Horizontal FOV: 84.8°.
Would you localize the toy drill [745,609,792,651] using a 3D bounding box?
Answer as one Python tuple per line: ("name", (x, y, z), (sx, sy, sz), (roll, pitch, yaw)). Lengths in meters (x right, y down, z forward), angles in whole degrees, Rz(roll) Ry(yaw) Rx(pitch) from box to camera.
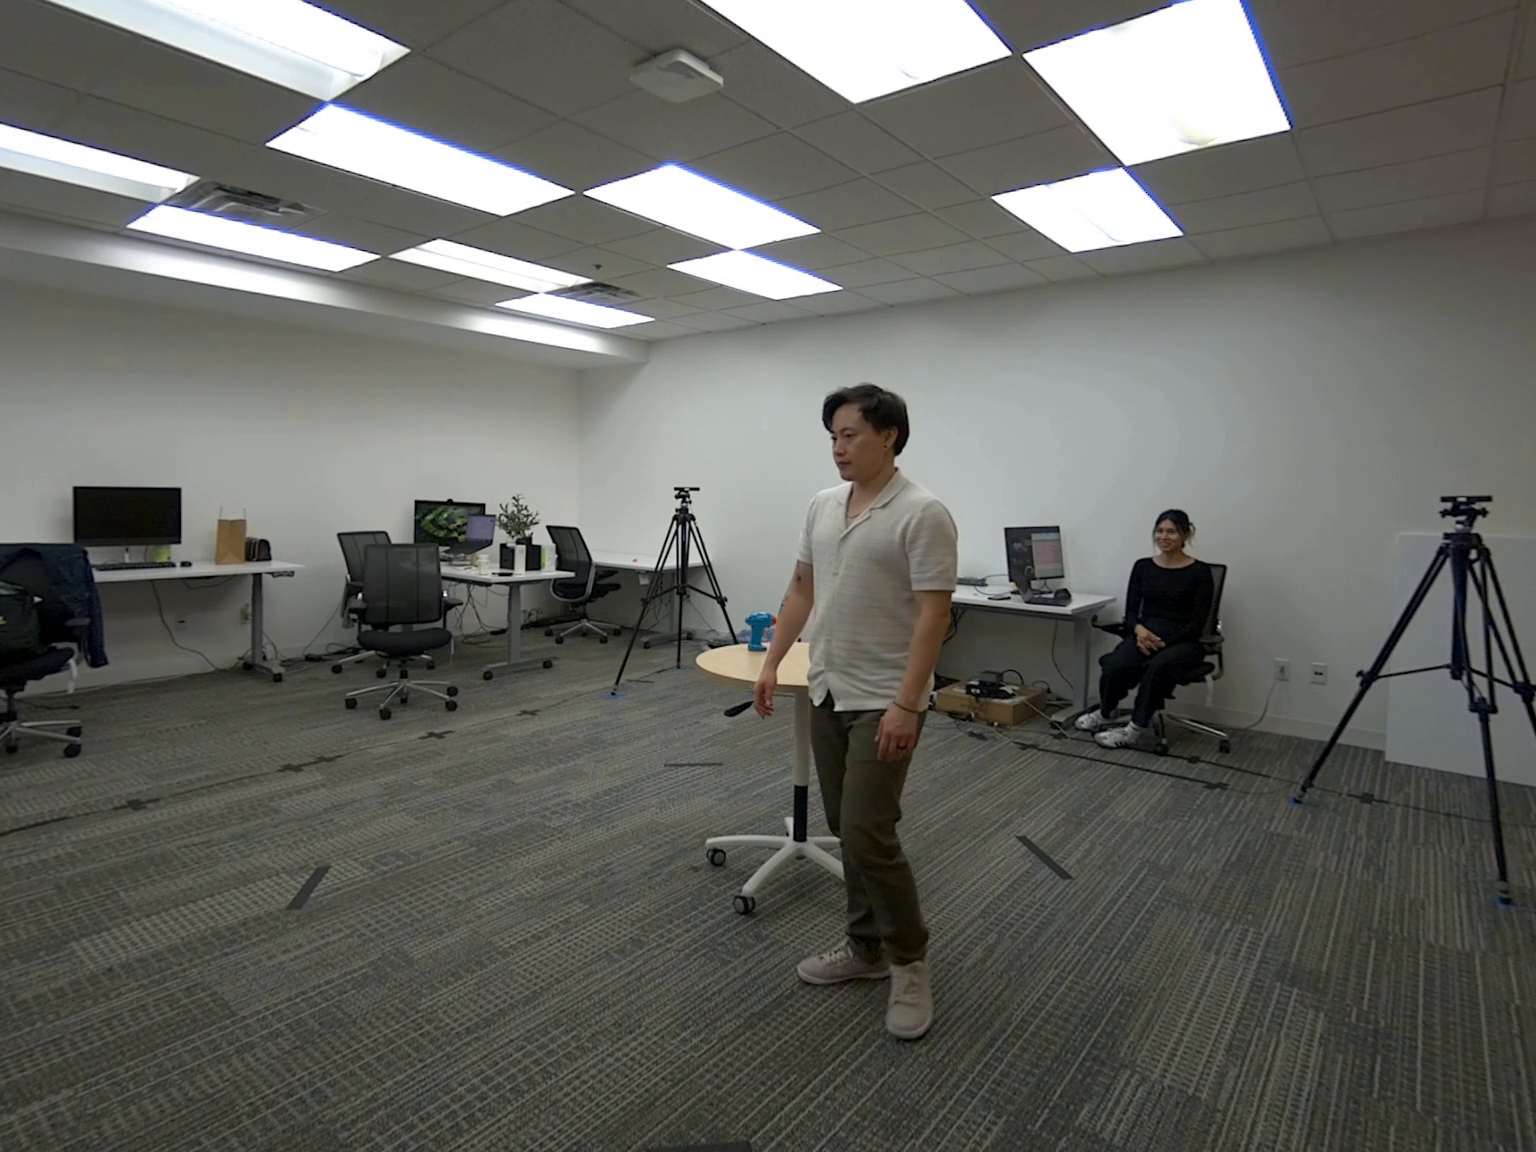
("toy drill", (0.000, 0.203, 3.206), (0.169, 0.146, 0.061), (0, 2, -6))
